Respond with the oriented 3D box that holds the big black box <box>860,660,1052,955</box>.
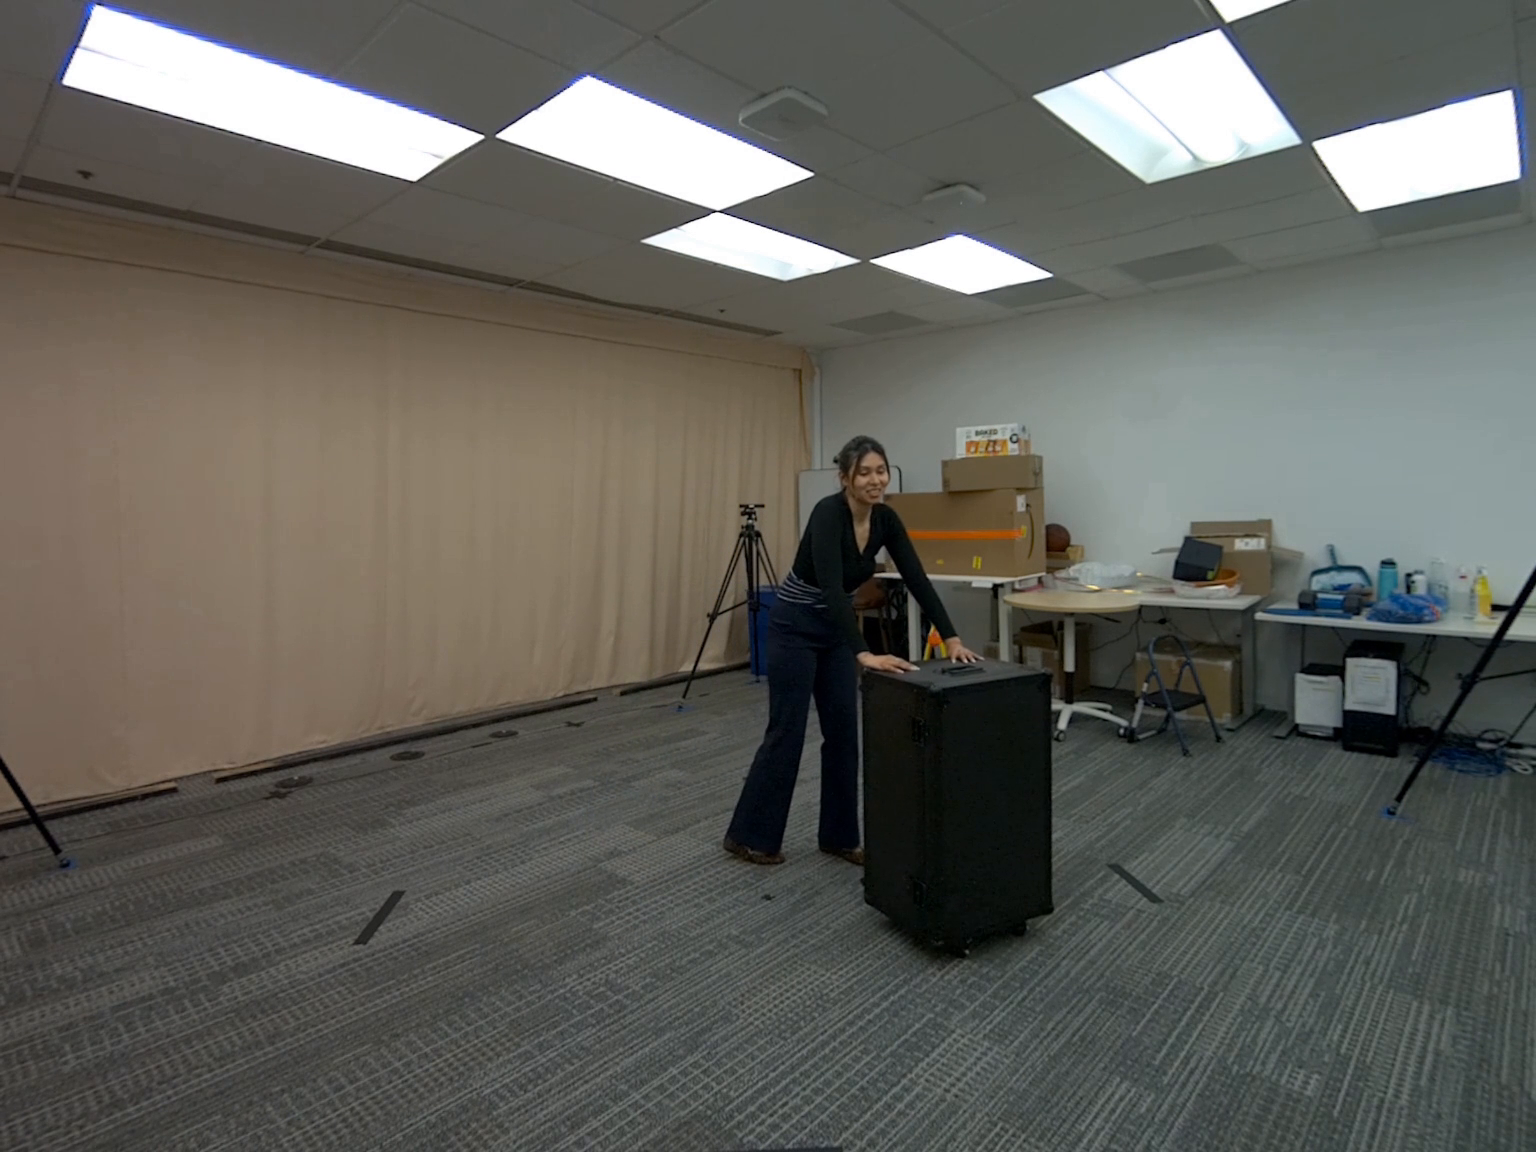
[{"bbox_3d":[0.604,0.726,2.725,0.508,0.860,0.407,-4,4,-30],"label":"big black box"}]
